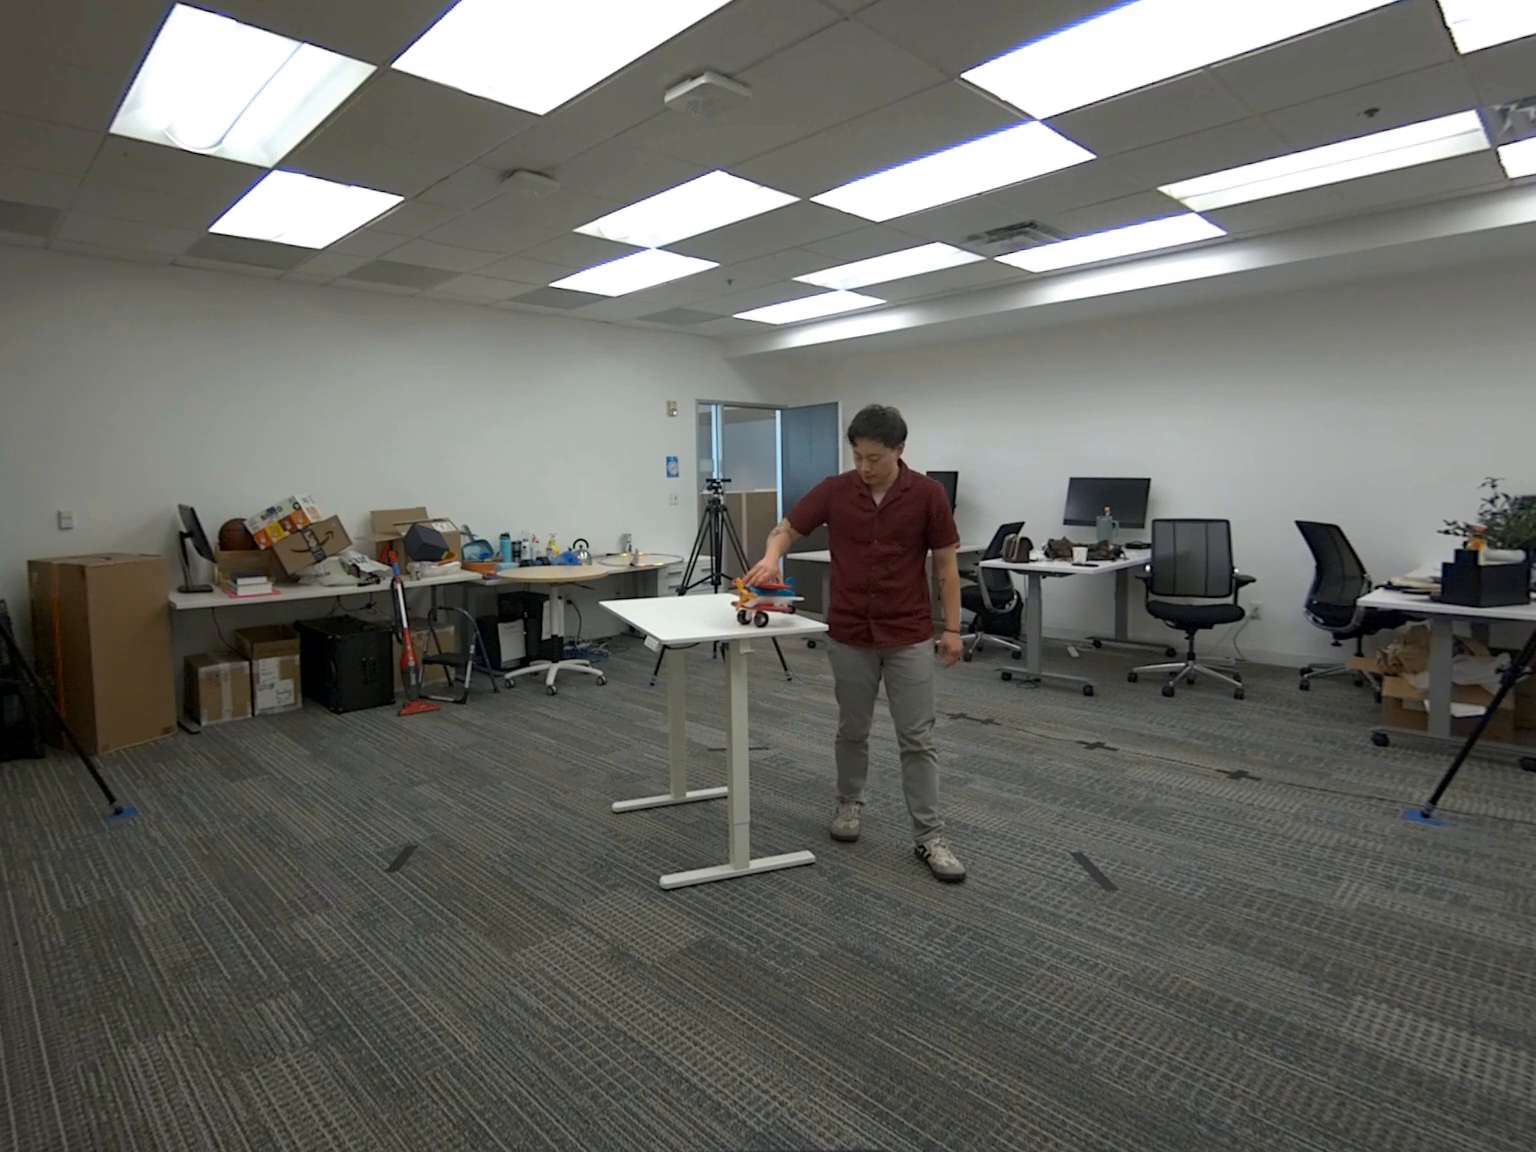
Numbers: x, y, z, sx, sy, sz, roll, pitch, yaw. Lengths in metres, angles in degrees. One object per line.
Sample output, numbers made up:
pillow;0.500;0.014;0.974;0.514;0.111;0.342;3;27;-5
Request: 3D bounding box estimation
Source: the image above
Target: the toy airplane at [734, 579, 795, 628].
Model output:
toy airplane;-0.015;0.081;3.049;0.255;0.155;0.257;-3;12;19
